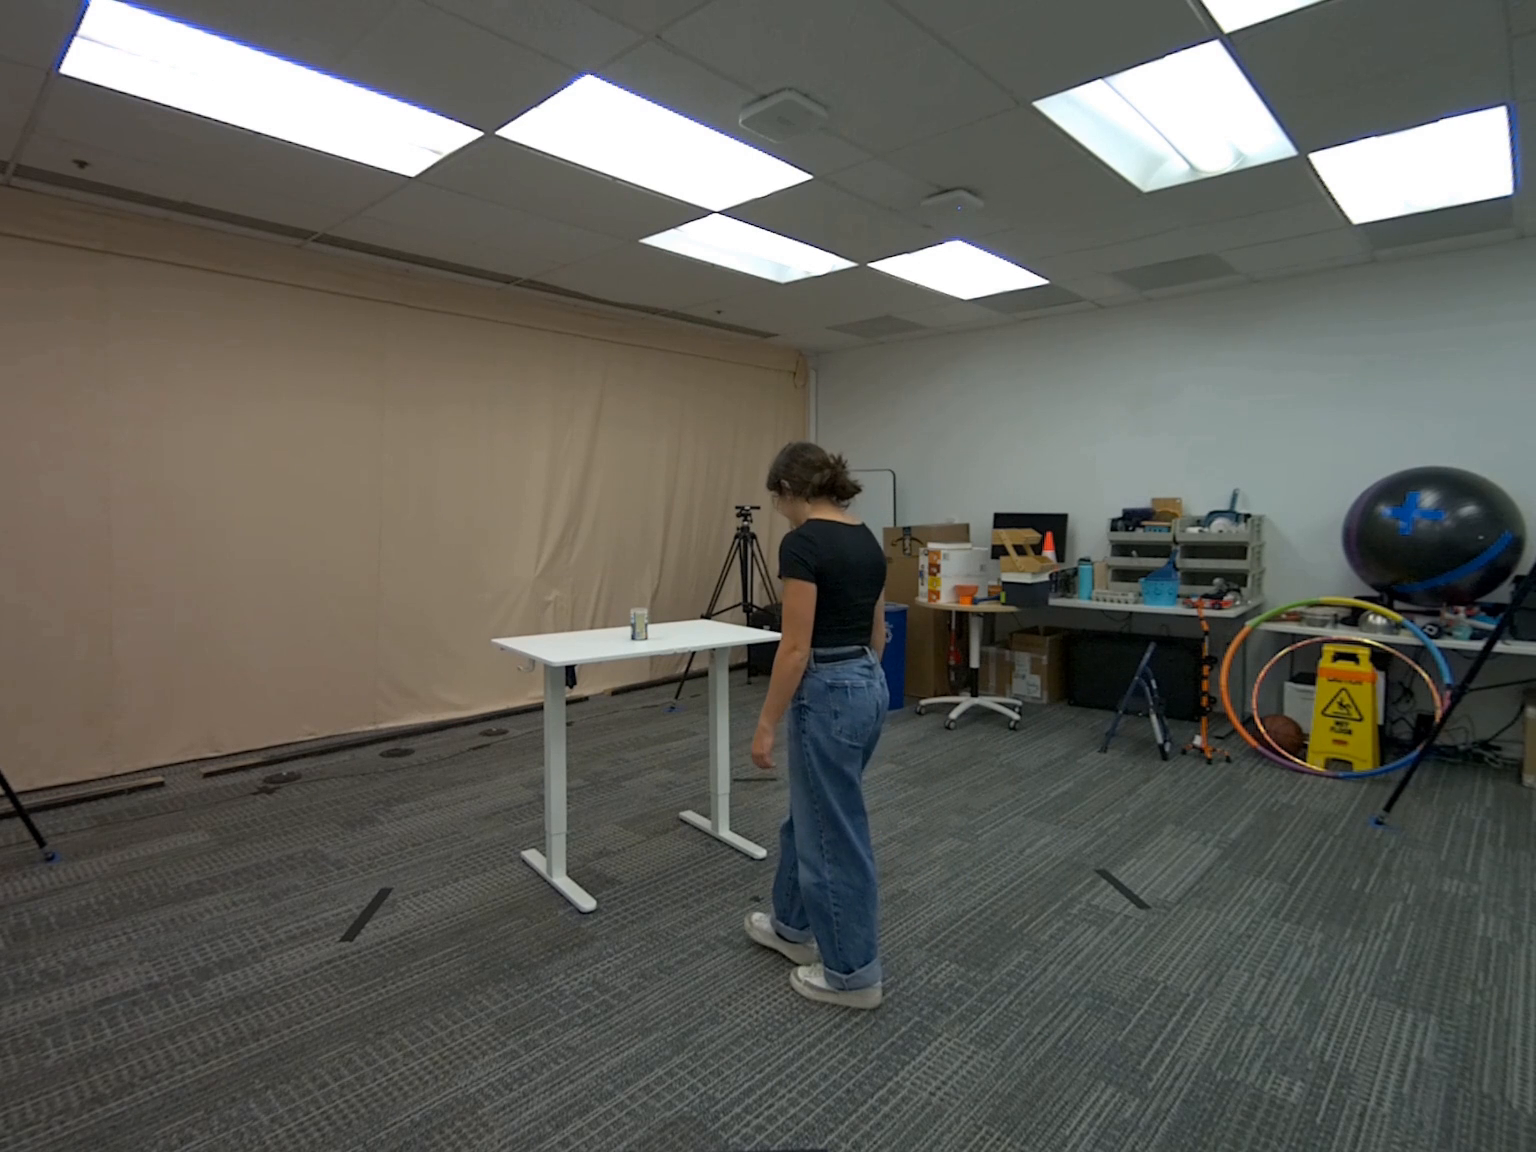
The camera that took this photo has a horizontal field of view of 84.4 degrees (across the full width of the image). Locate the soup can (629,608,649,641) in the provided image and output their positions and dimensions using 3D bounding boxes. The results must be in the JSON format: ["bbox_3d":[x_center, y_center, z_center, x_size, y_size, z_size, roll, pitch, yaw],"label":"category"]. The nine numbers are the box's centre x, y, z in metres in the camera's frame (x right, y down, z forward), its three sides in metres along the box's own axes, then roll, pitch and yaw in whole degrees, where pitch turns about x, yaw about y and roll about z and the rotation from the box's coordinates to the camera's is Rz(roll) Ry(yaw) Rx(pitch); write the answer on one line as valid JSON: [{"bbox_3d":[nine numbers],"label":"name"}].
[{"bbox_3d":[-0.495,0.188,3.244,0.067,0.121,0.067,1,3,-2],"label":"soup can"}]
